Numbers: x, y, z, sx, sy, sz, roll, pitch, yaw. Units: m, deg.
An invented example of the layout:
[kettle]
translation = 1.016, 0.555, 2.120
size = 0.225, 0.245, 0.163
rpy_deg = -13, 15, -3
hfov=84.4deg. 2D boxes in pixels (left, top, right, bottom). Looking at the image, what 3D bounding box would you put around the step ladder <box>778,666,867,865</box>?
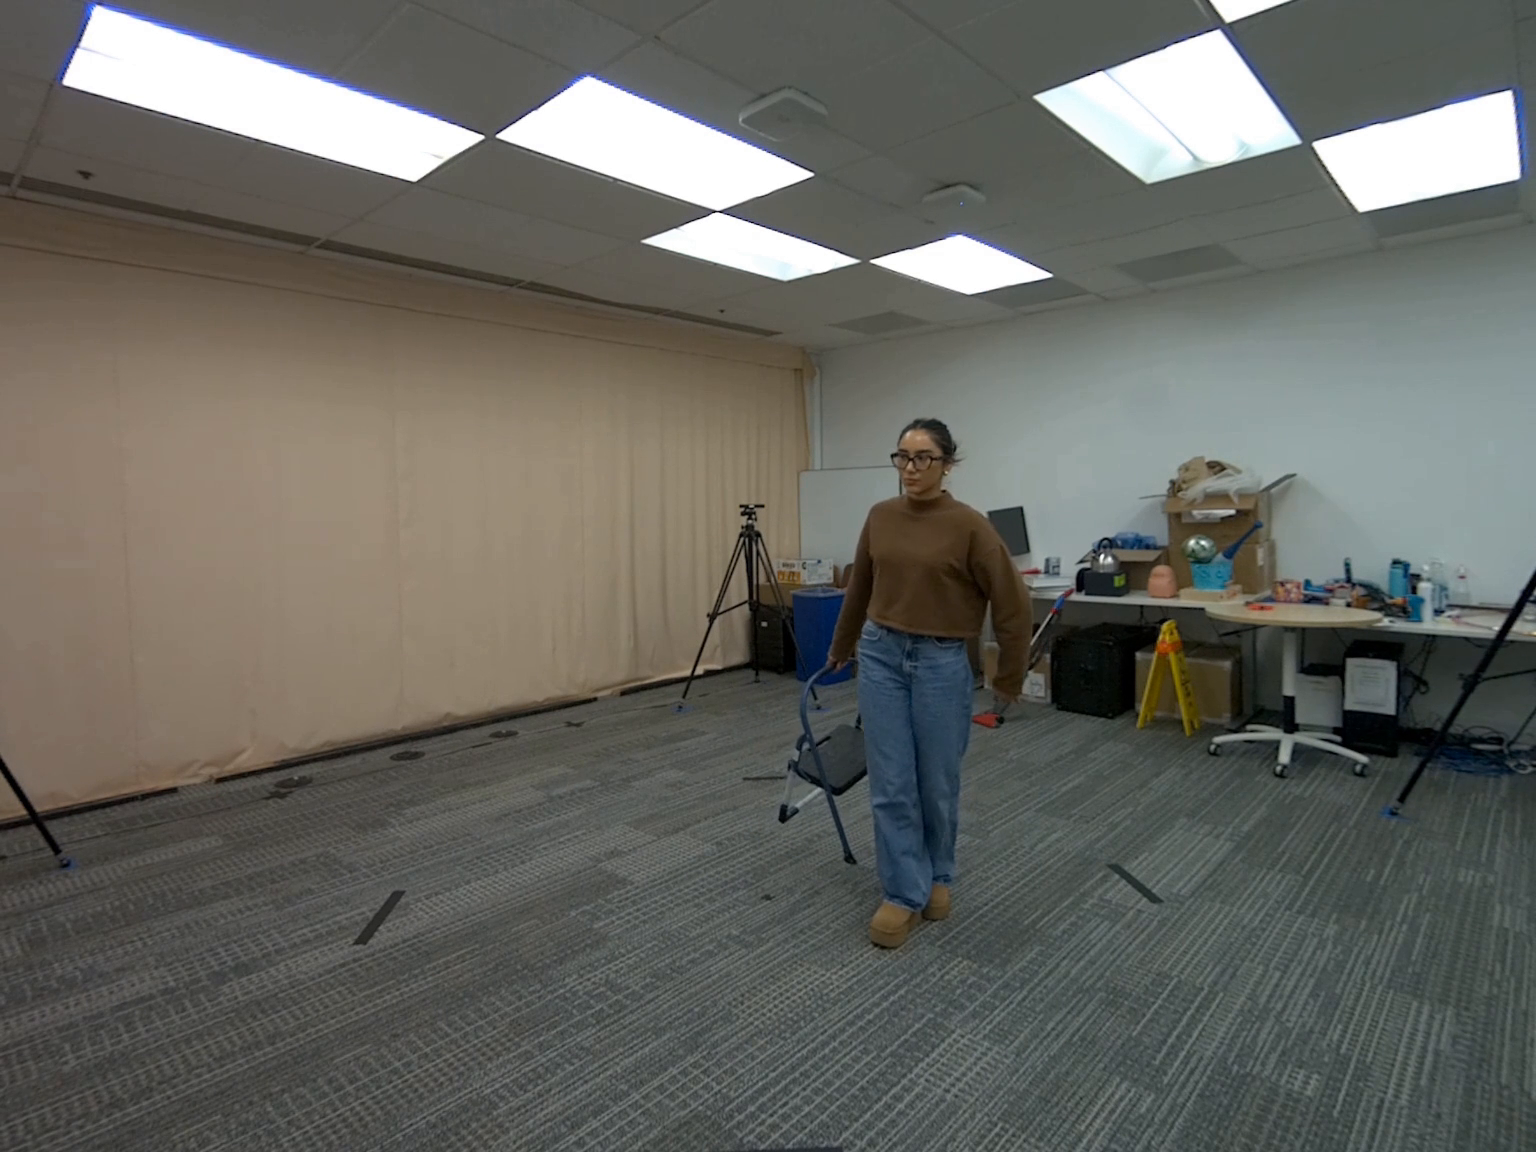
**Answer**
[step ladder]
translation = 0.296, 0.629, 3.090
size = 0.362, 0.598, 0.421
rpy_deg = 15, 26, 40
